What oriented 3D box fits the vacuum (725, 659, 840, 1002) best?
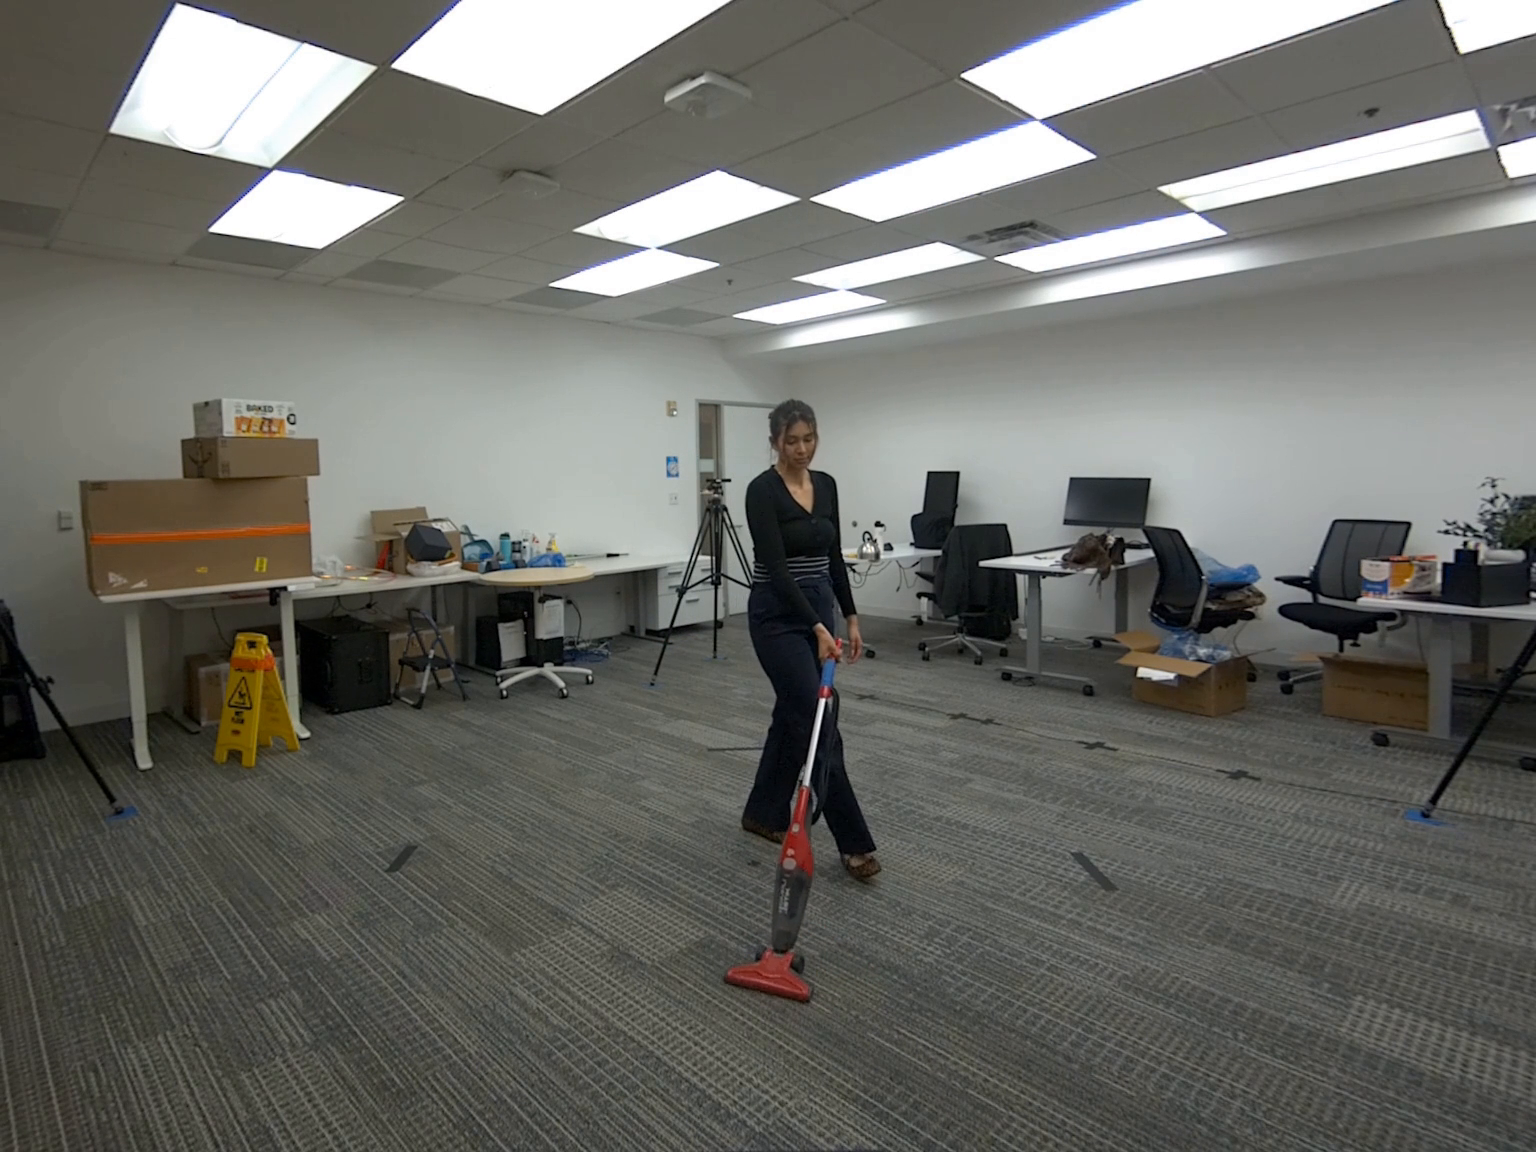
[{"bbox_3d":[0.125,0.684,2.654,0.258,1.067,0.139,0,-34,21],"label":"vacuum"}]
